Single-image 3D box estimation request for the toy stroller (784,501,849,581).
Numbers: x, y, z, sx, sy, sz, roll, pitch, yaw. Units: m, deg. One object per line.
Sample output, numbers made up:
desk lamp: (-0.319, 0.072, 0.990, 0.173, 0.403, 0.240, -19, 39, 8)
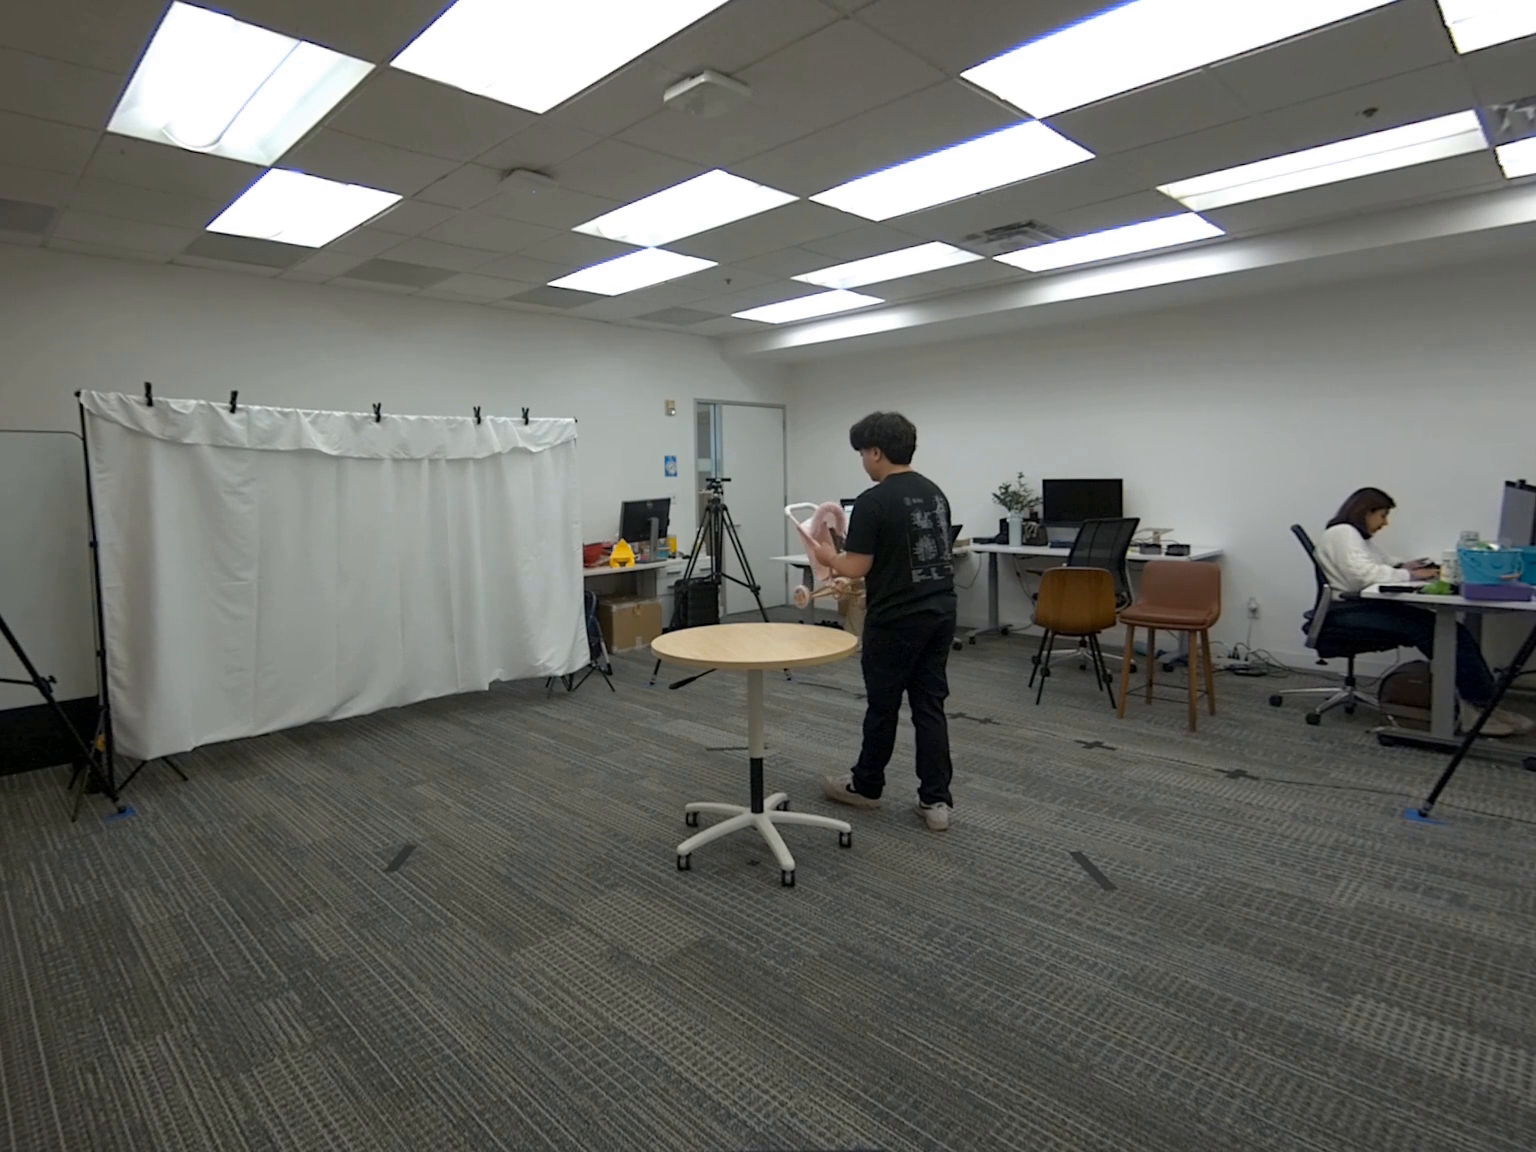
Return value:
toy stroller: (0.280, -0.089, 3.781, 0.275, 0.537, 0.348, -7, -4, -36)
